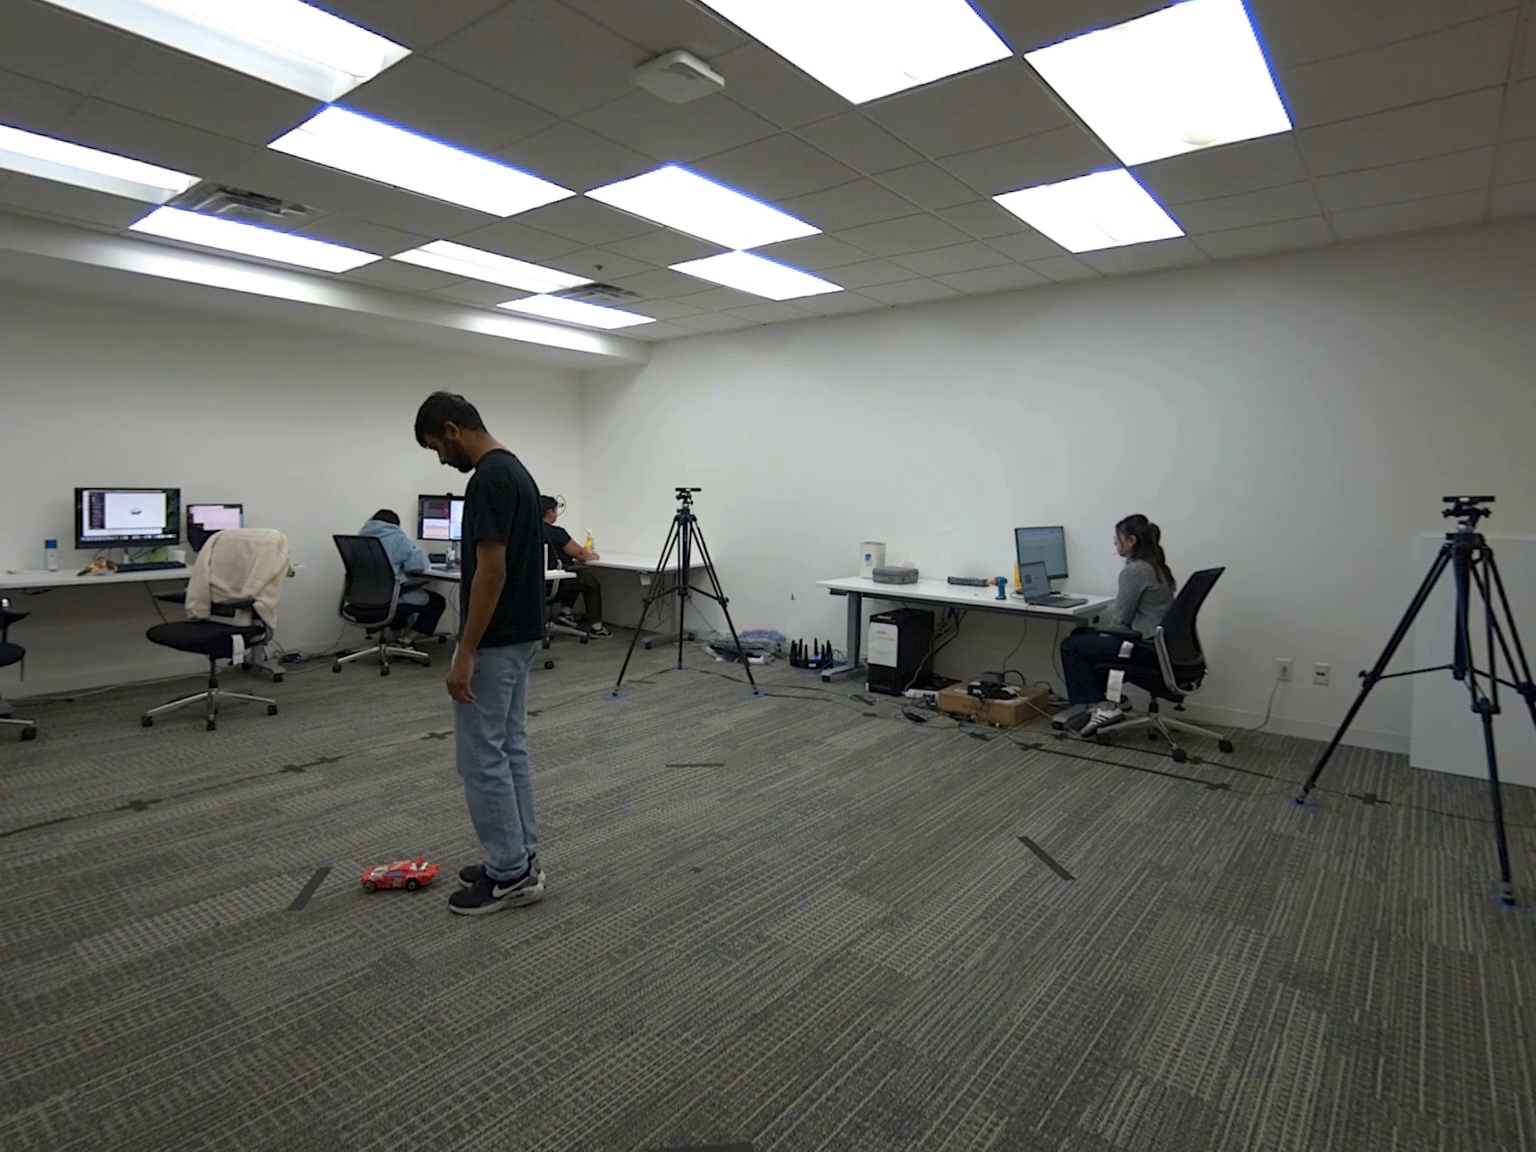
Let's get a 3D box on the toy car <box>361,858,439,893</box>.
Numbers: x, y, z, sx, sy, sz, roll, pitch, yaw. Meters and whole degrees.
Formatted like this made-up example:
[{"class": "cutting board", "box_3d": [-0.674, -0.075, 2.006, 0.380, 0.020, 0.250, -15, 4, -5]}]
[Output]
[{"class": "toy car", "box_3d": [-1.281, 1.040, 2.956, 0.254, 0.083, 0.131, -11, 6, -2]}]
